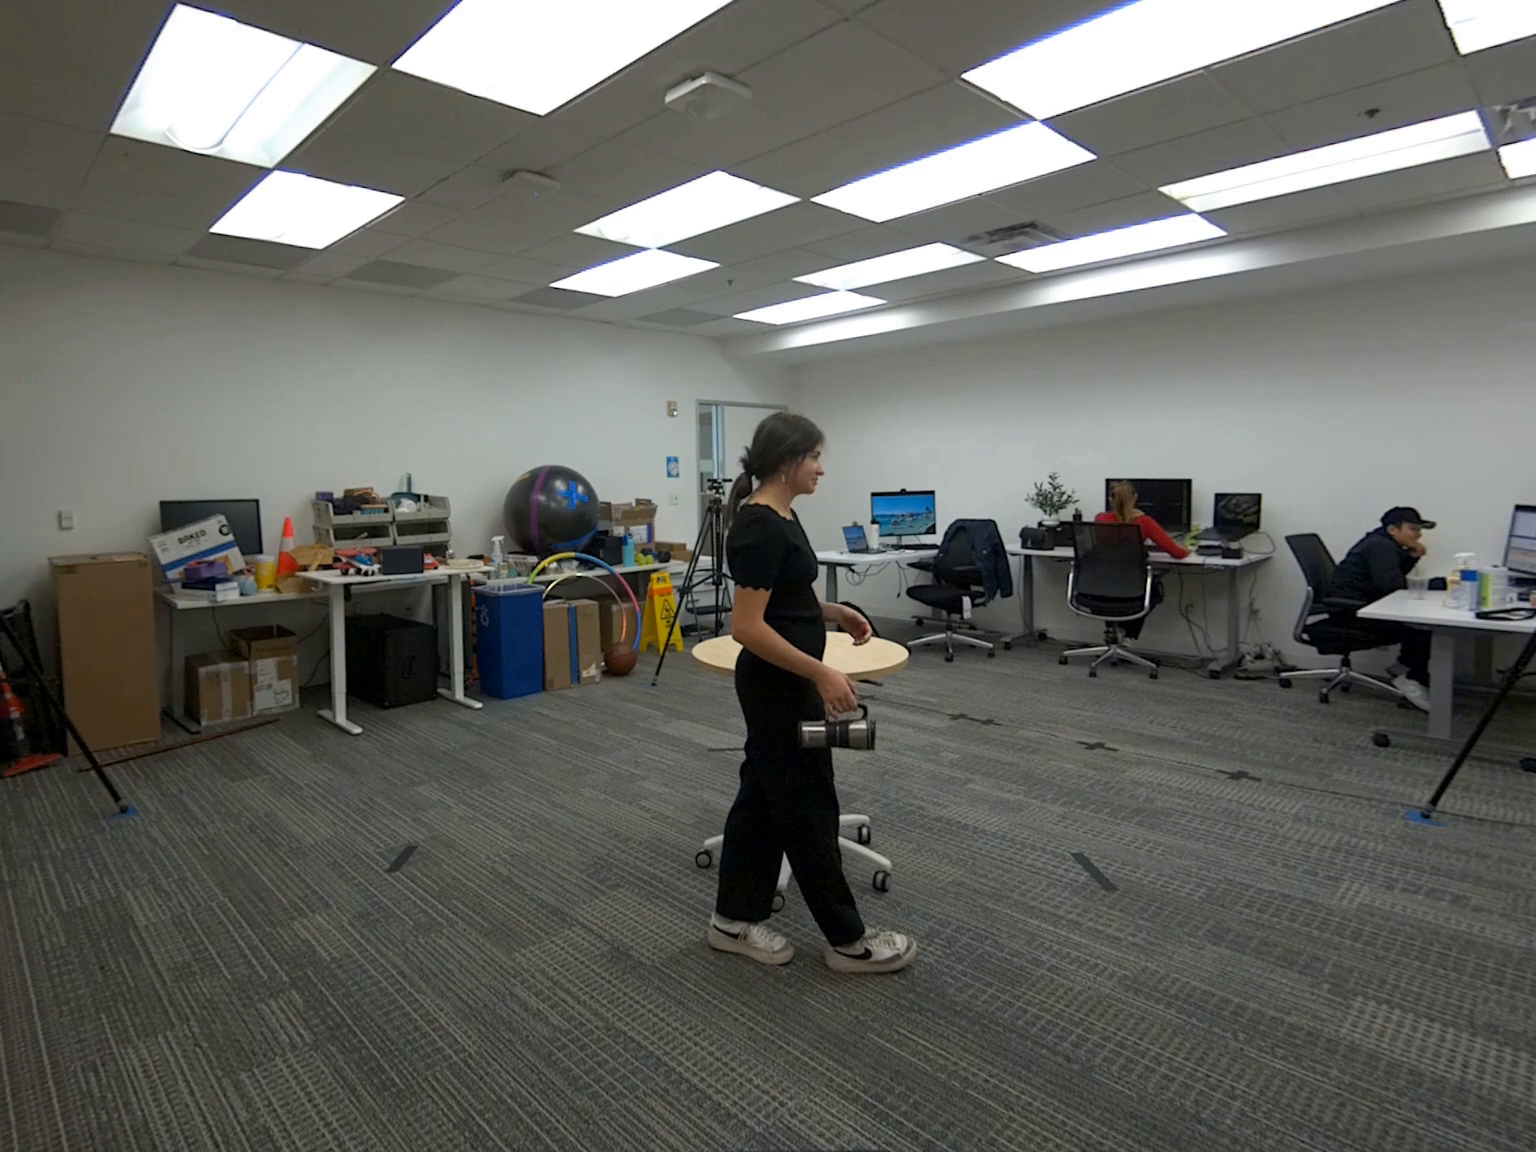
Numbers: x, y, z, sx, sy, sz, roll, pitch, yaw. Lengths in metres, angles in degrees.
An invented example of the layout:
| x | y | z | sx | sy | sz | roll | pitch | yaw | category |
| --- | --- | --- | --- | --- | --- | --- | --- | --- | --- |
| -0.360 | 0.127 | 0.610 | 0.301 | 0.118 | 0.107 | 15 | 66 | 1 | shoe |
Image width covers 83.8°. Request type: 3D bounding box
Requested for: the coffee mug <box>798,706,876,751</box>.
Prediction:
| x | y | z | sx | sy | sz | roll | pitch | yaw | category |
| --- | --- | --- | --- | --- | --- | --- | --- | --- | --- |
| 0.196 | 0.376 | 2.254 | 0.204 | 0.120 | 0.088 | 1 | 14 | 8 | coffee mug |
